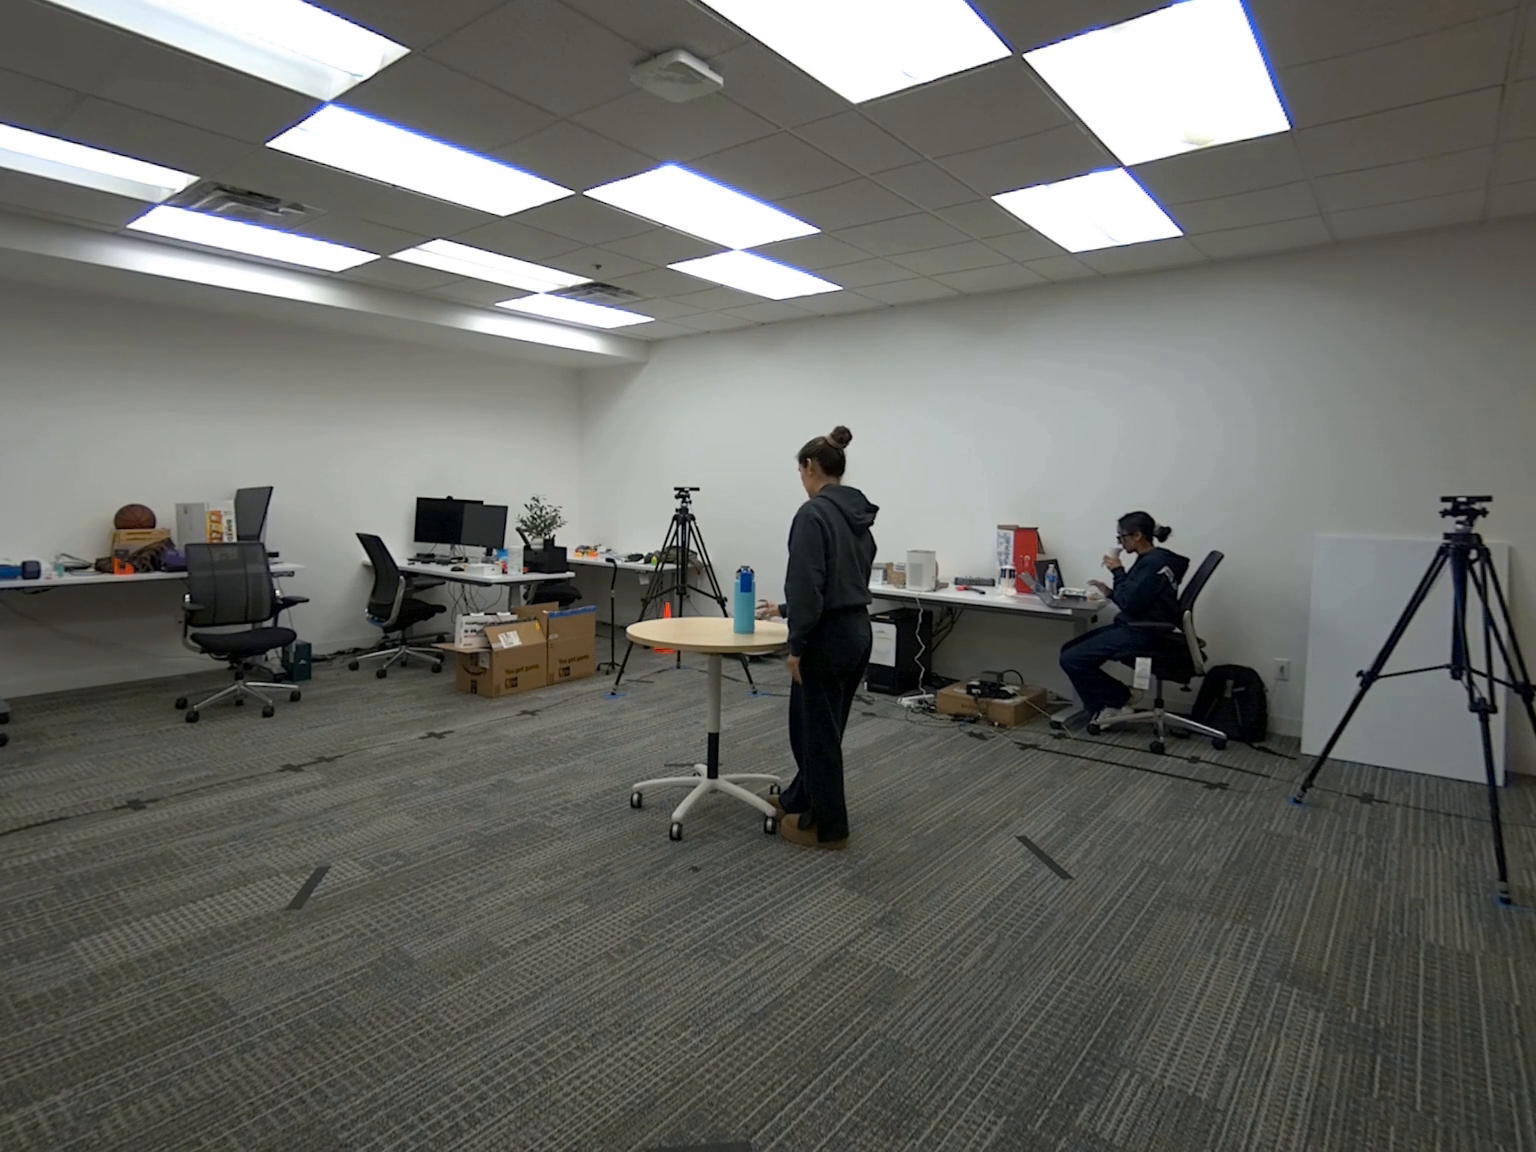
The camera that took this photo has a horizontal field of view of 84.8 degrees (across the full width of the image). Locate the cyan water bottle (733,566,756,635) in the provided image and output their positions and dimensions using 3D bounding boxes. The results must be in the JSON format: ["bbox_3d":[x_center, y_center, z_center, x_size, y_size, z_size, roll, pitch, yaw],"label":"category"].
[{"bbox_3d":[-0.102,0.097,3.621,0.092,0.282,0.093,2,3,-2],"label":"cyan water bottle"}]
